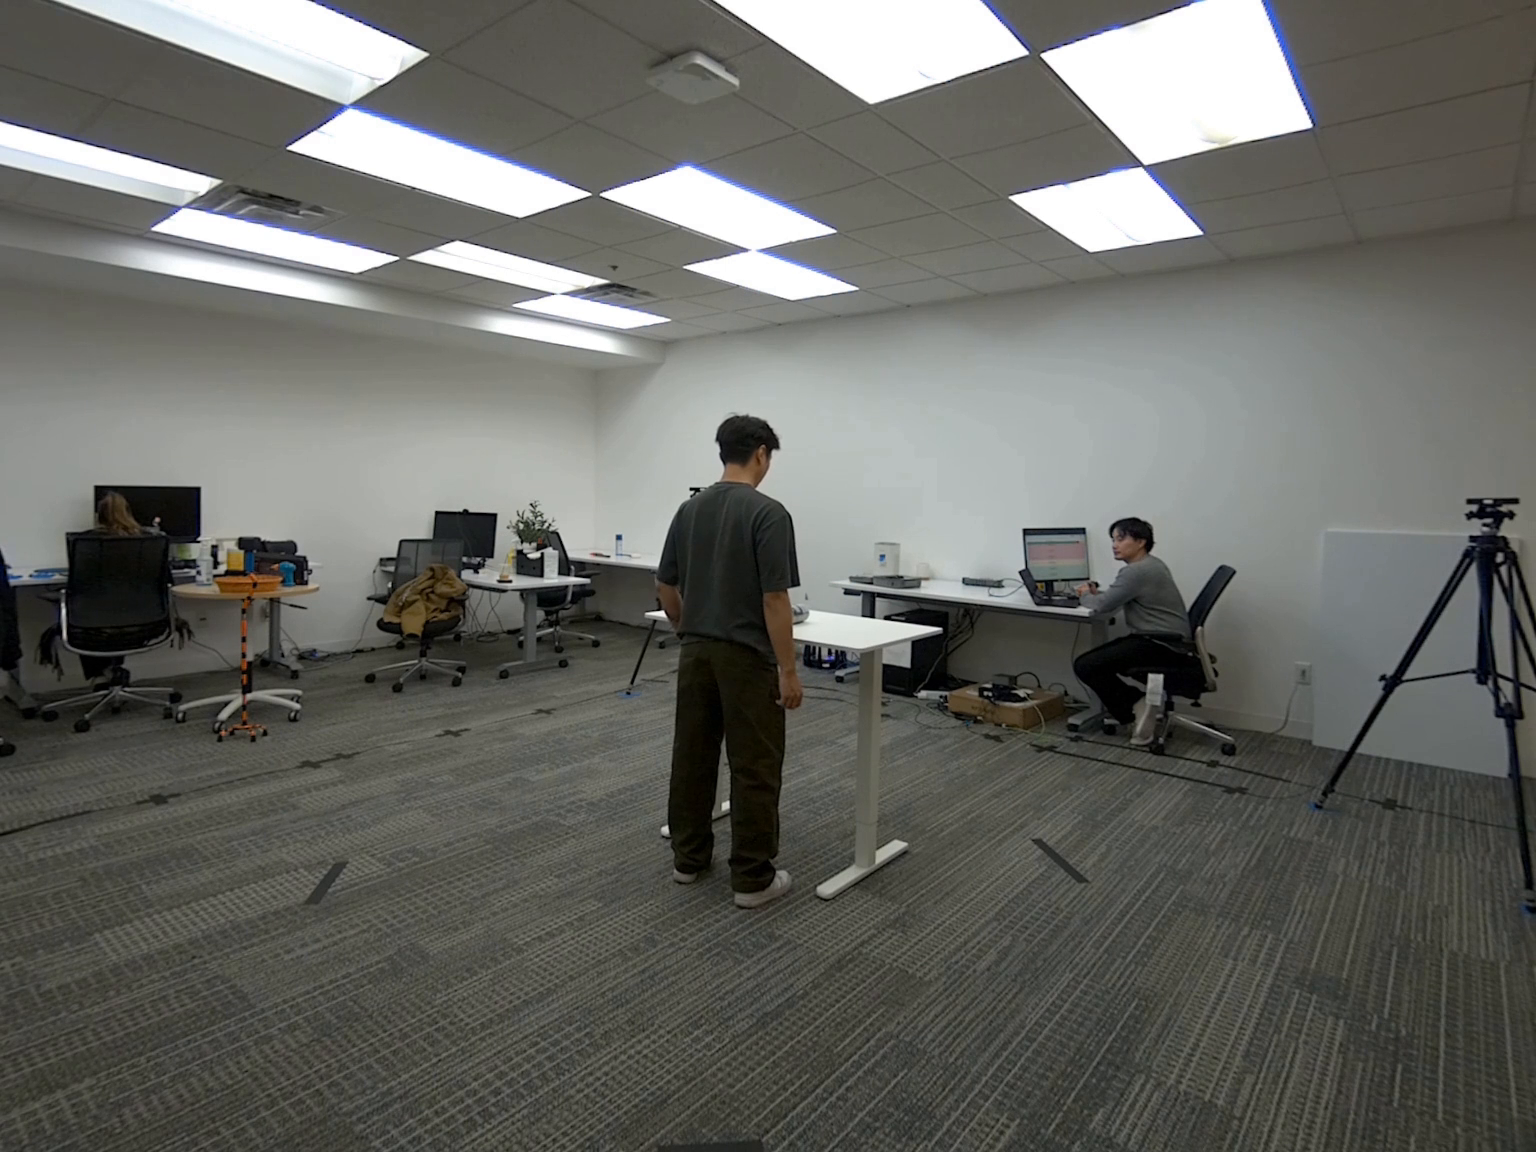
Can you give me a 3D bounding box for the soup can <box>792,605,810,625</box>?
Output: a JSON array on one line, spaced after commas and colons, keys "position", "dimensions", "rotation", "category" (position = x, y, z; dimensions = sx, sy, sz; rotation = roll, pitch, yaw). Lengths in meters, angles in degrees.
[{"position": [0.097, 0.142, 3.261], "dimensions": [0.069, 0.067, 0.118], "rotation": [4, 6, 31], "category": "soup can"}]
